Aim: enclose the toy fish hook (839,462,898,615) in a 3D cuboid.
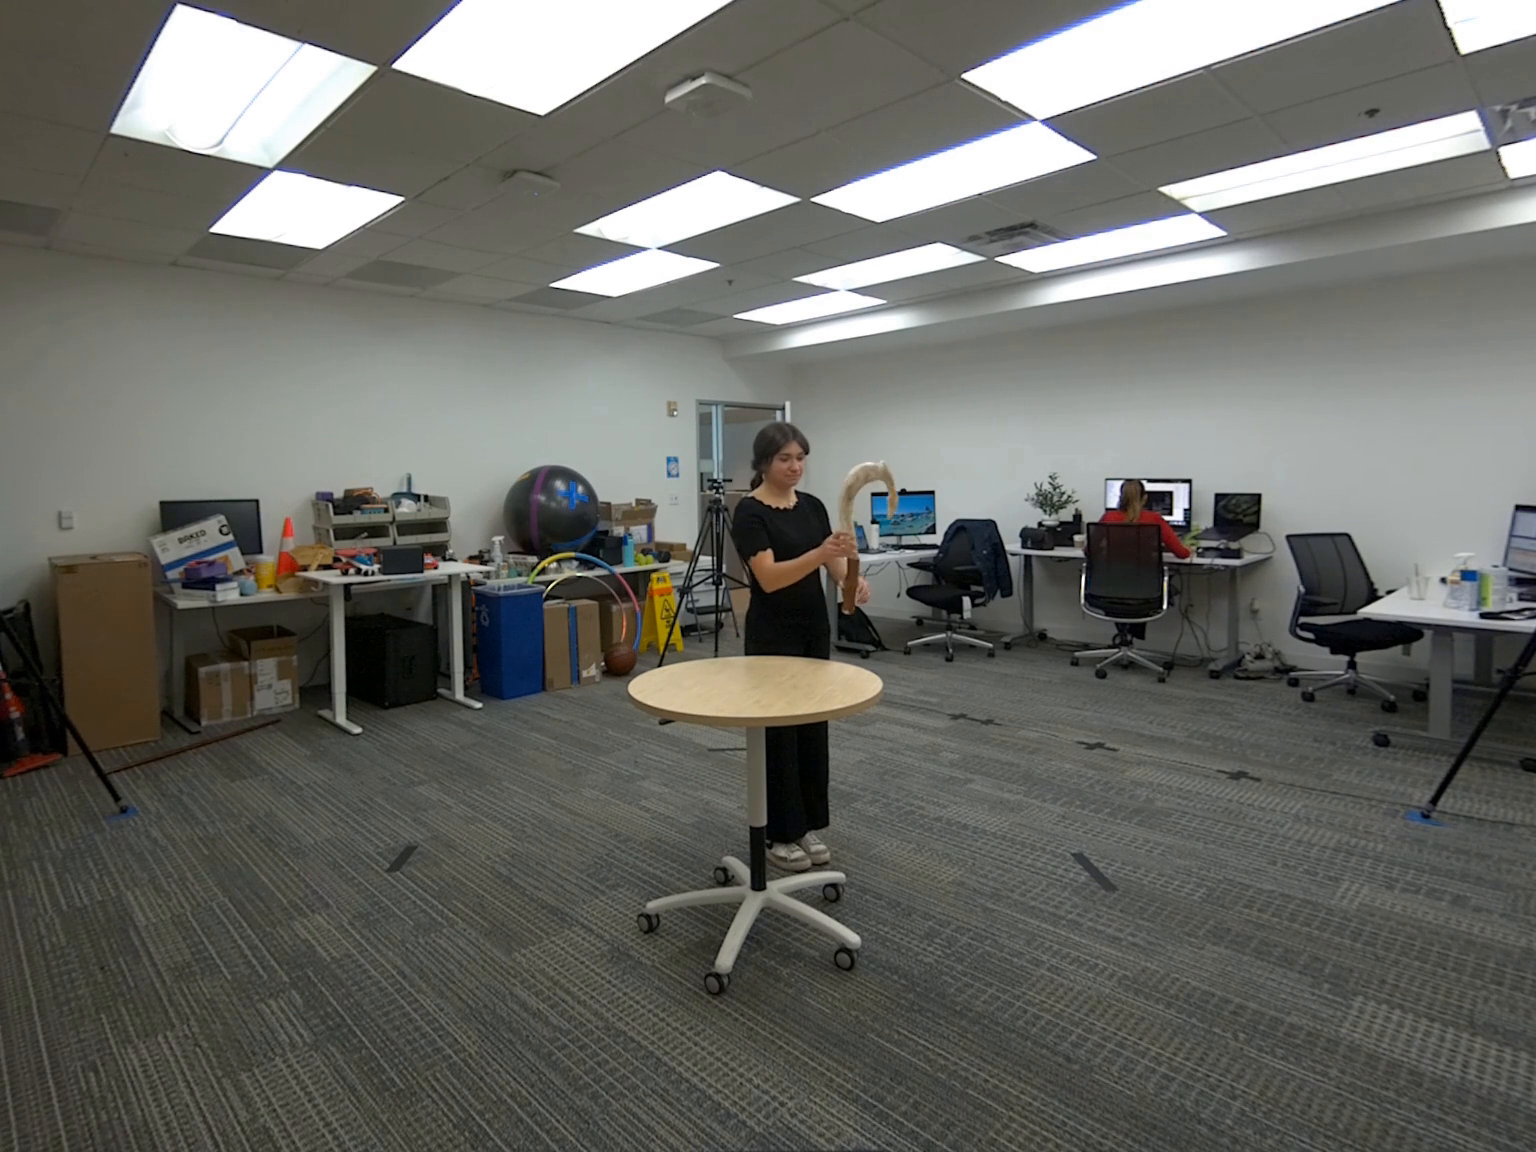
[{"bbox_3d":[0.309,-0.103,2.731,0.220,0.498,0.050,-9,22,-24],"label":"toy fish hook"}]
